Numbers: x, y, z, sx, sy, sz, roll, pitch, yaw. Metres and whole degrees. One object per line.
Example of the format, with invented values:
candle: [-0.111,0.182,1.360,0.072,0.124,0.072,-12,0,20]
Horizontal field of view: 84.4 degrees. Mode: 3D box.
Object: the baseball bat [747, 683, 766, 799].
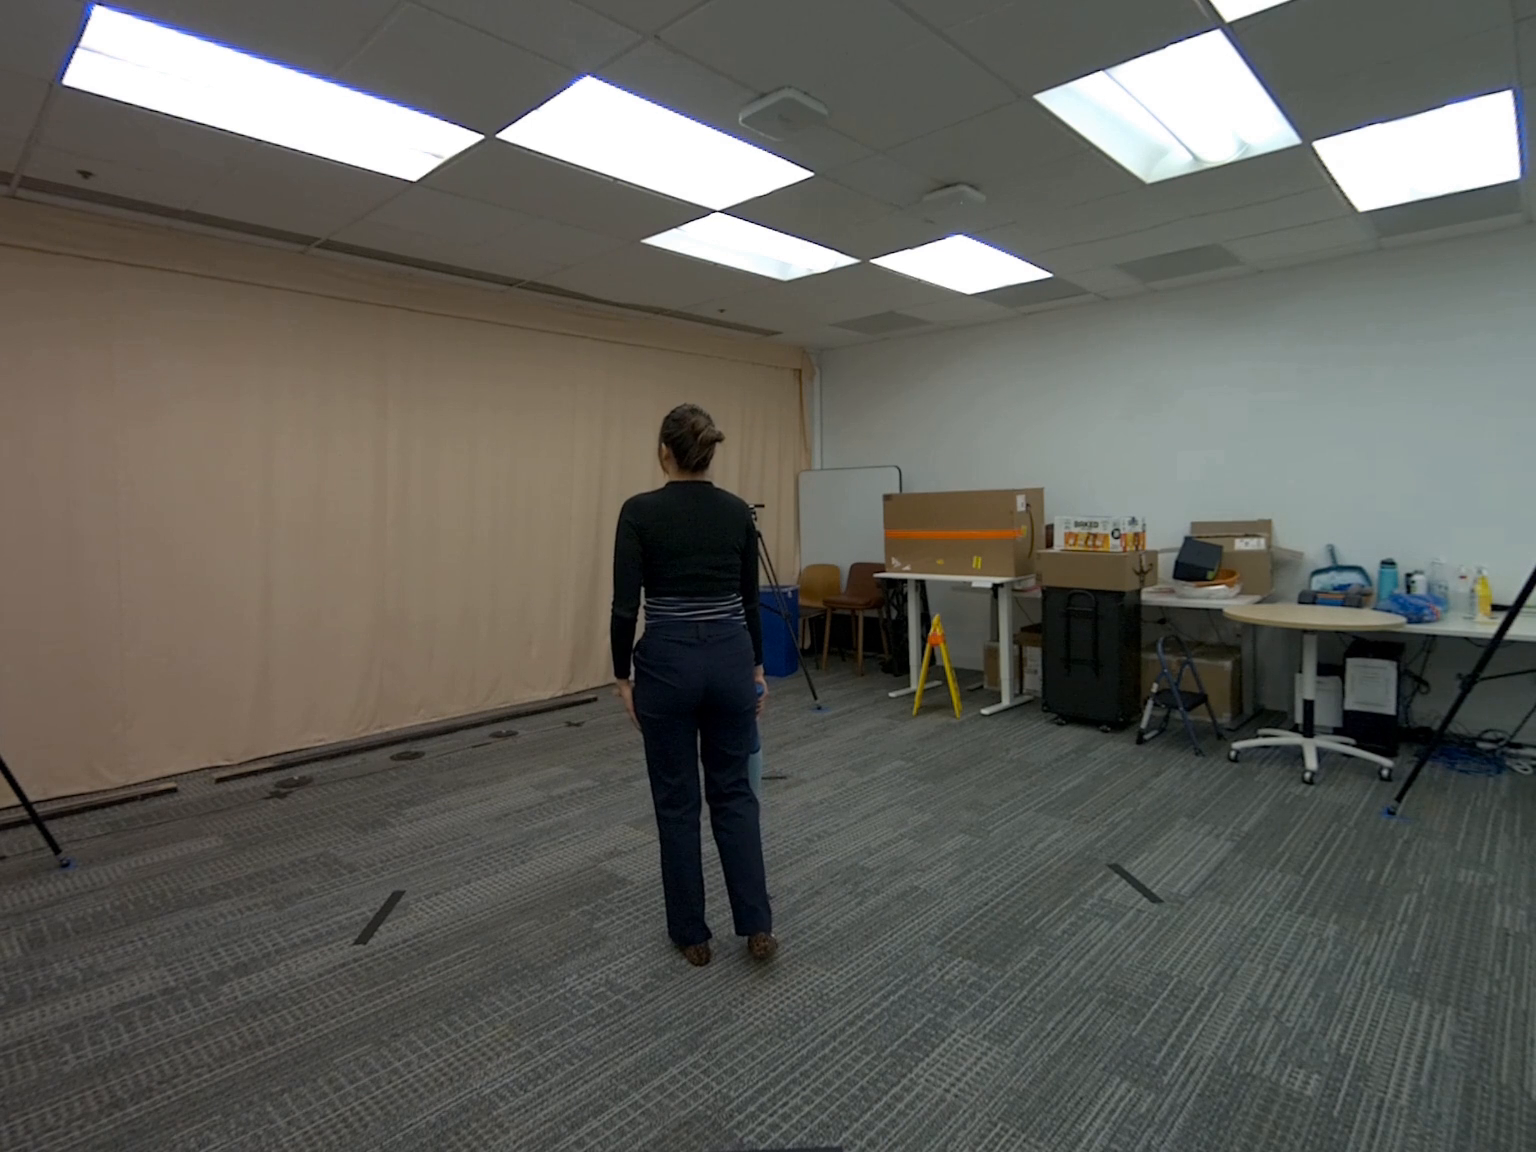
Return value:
baseball bat: [-0.054,0.586,2.924,0.089,0.534,0.091,2,36,-3]
